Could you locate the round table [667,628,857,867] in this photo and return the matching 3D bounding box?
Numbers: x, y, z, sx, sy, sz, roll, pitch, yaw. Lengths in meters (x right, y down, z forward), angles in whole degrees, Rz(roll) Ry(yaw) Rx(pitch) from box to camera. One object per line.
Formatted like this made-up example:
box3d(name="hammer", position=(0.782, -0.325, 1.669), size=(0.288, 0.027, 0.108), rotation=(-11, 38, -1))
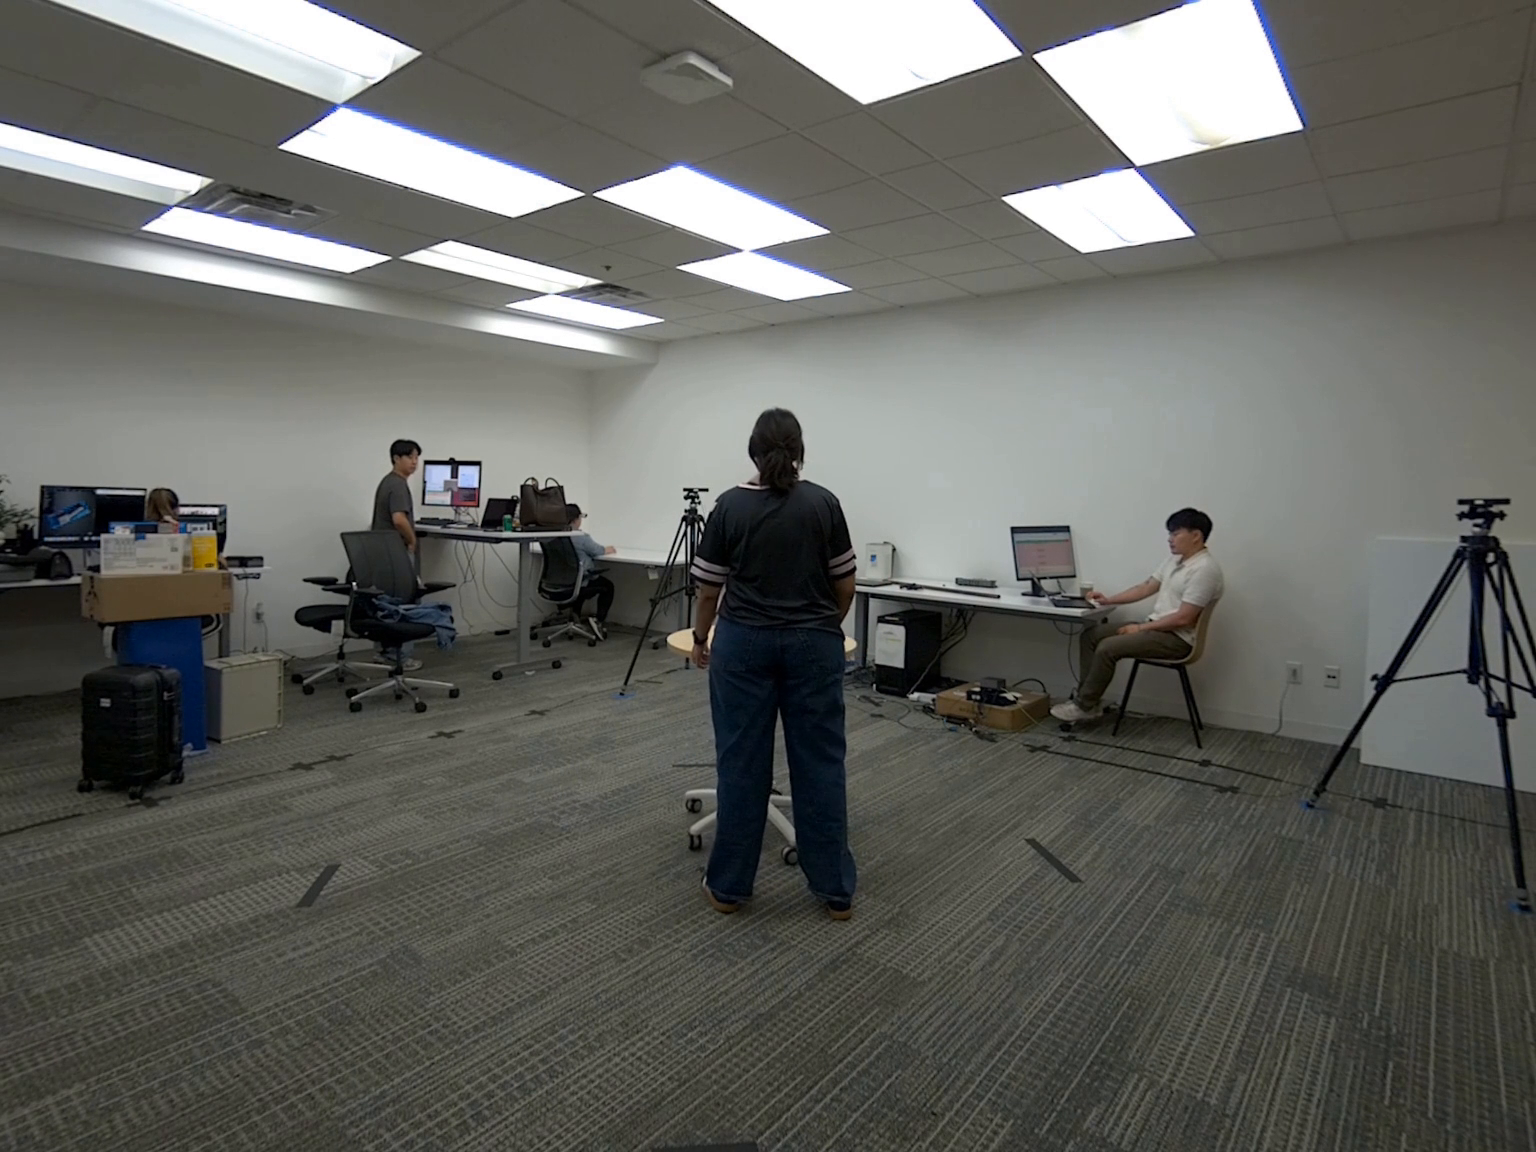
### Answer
box3d(name="round table", position=(-0.040, 0.645, 3.472), size=(0.763, 0.791, 0.768), rotation=(1, 4, -2))
